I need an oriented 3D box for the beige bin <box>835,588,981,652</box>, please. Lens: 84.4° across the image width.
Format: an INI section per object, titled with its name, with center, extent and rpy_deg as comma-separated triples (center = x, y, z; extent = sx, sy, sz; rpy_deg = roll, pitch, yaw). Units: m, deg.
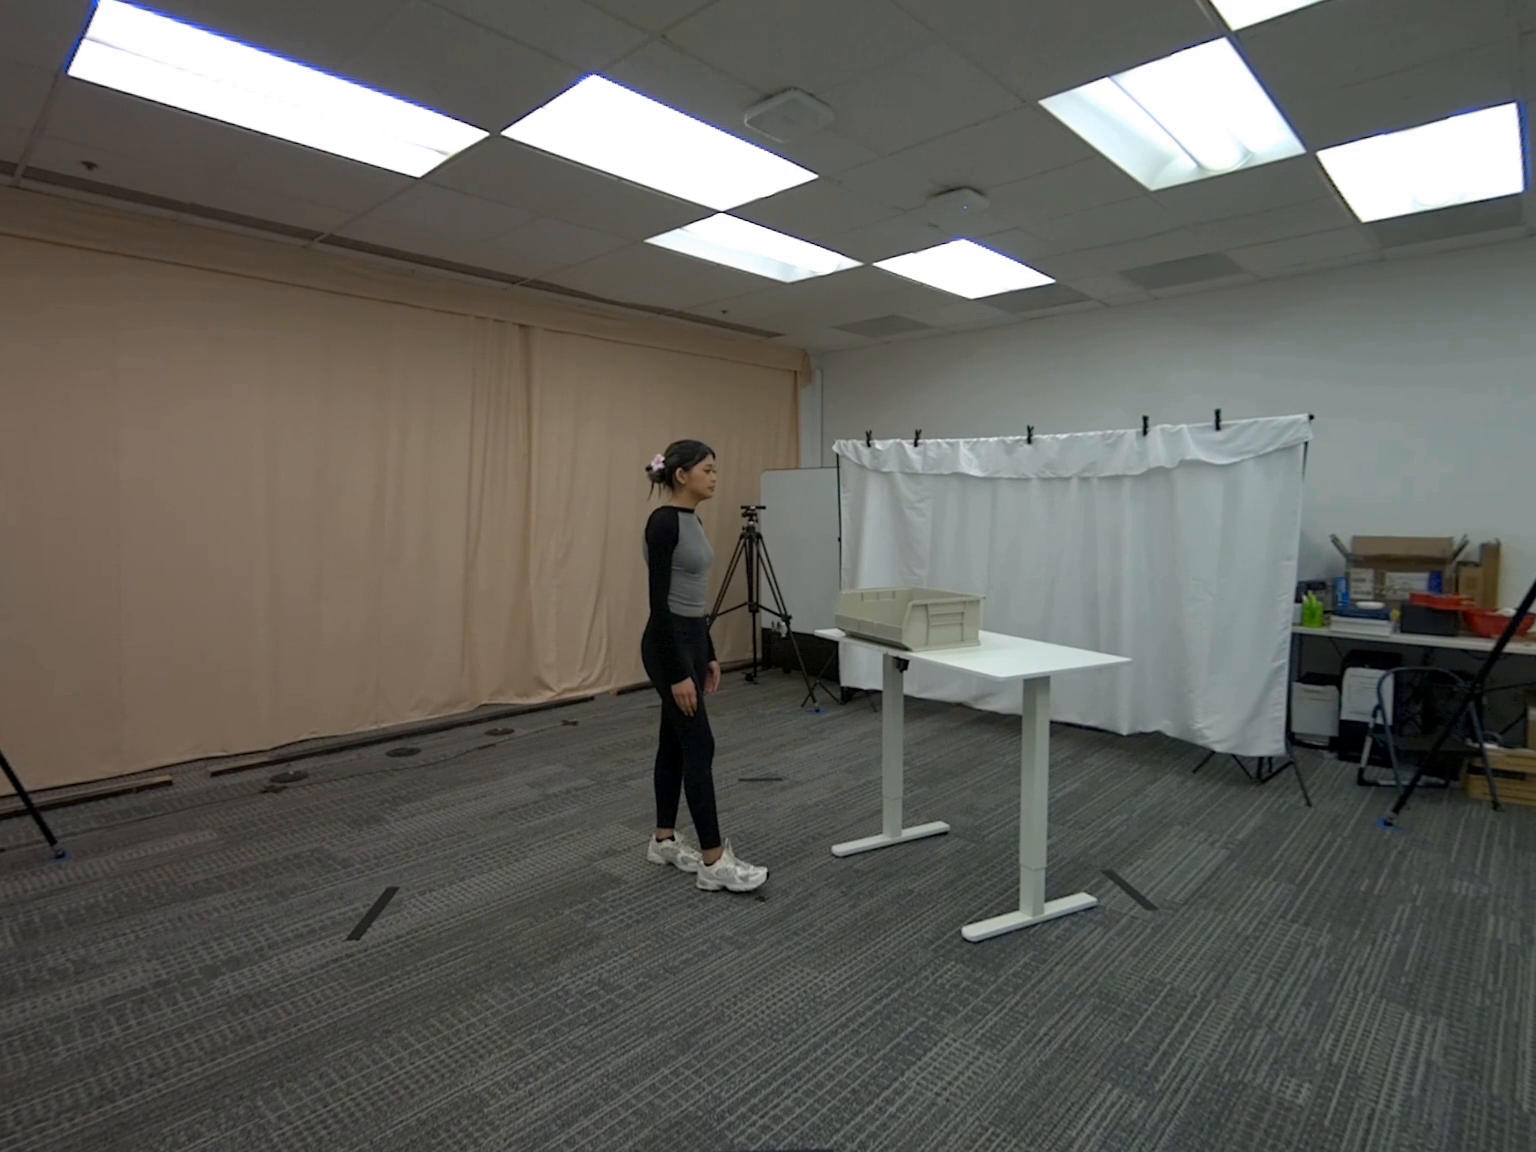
[beige bin]
center = 0.516, 0.156, 3.159
extent = 0.367, 0.188, 0.434
rpy_deg = -1, 5, -29
